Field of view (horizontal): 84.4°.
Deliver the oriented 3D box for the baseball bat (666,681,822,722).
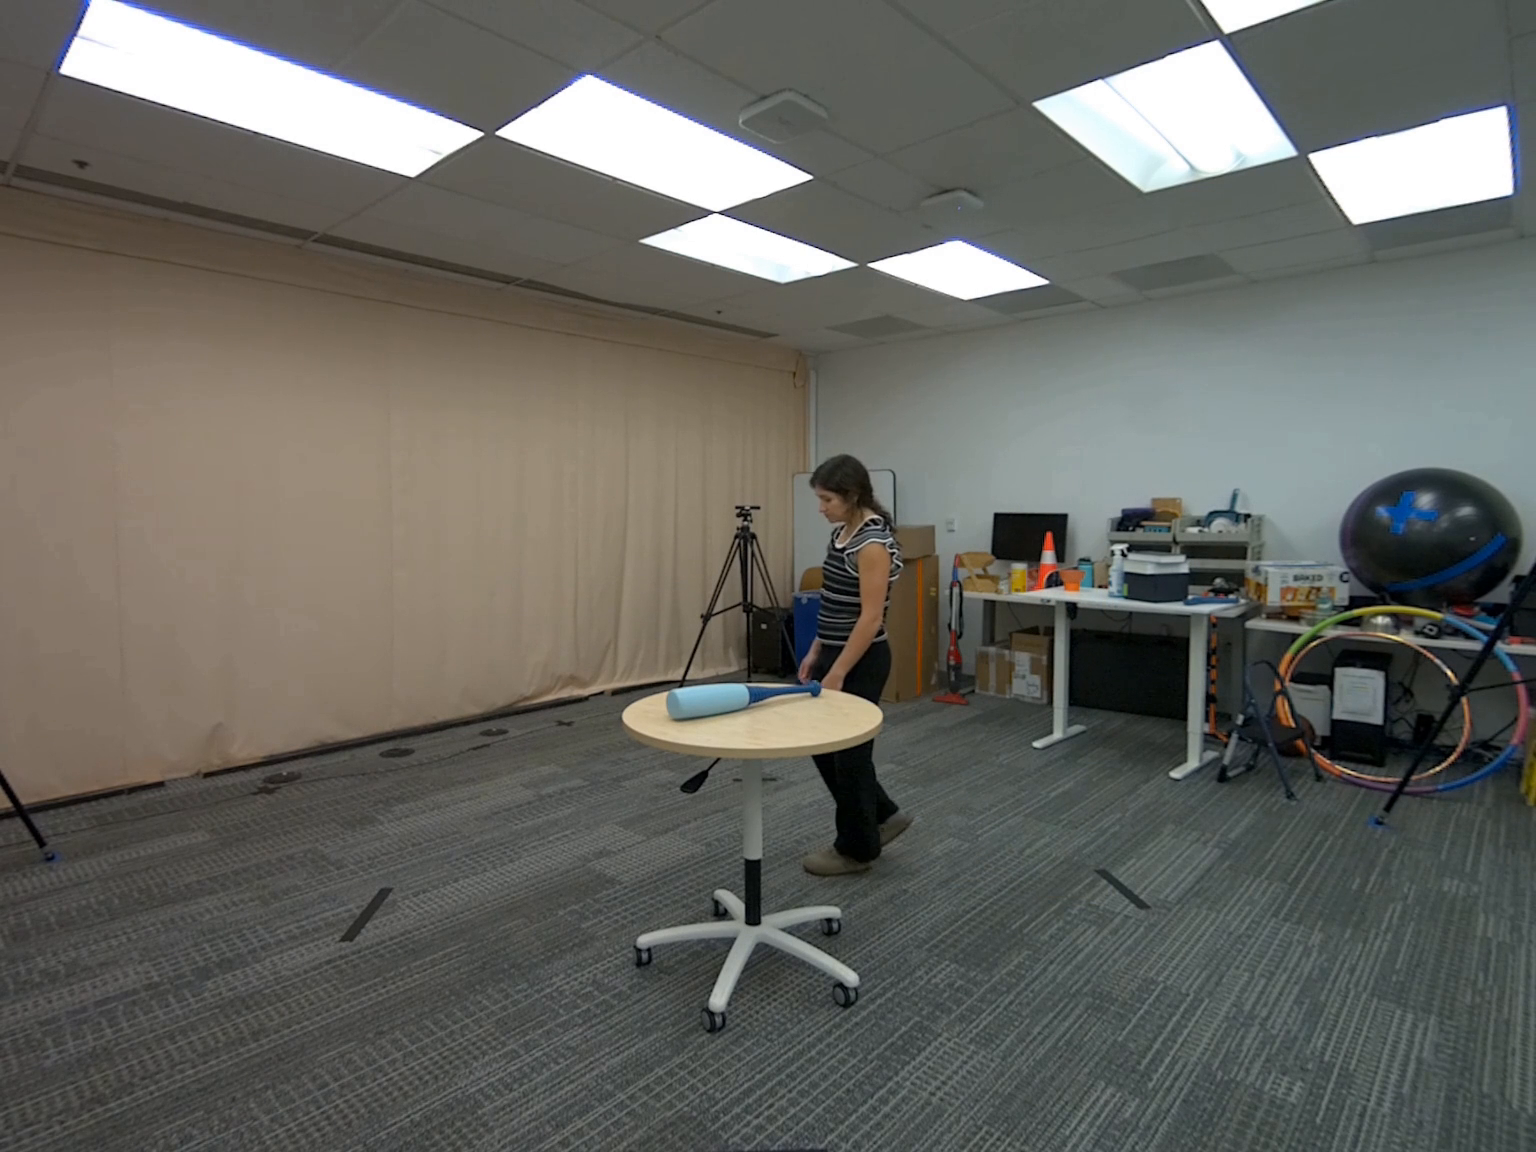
[{"bbox_3d":[-0.054,0.363,2.534,0.527,0.089,0.092,-1,4,-33],"label":"baseball bat"}]
